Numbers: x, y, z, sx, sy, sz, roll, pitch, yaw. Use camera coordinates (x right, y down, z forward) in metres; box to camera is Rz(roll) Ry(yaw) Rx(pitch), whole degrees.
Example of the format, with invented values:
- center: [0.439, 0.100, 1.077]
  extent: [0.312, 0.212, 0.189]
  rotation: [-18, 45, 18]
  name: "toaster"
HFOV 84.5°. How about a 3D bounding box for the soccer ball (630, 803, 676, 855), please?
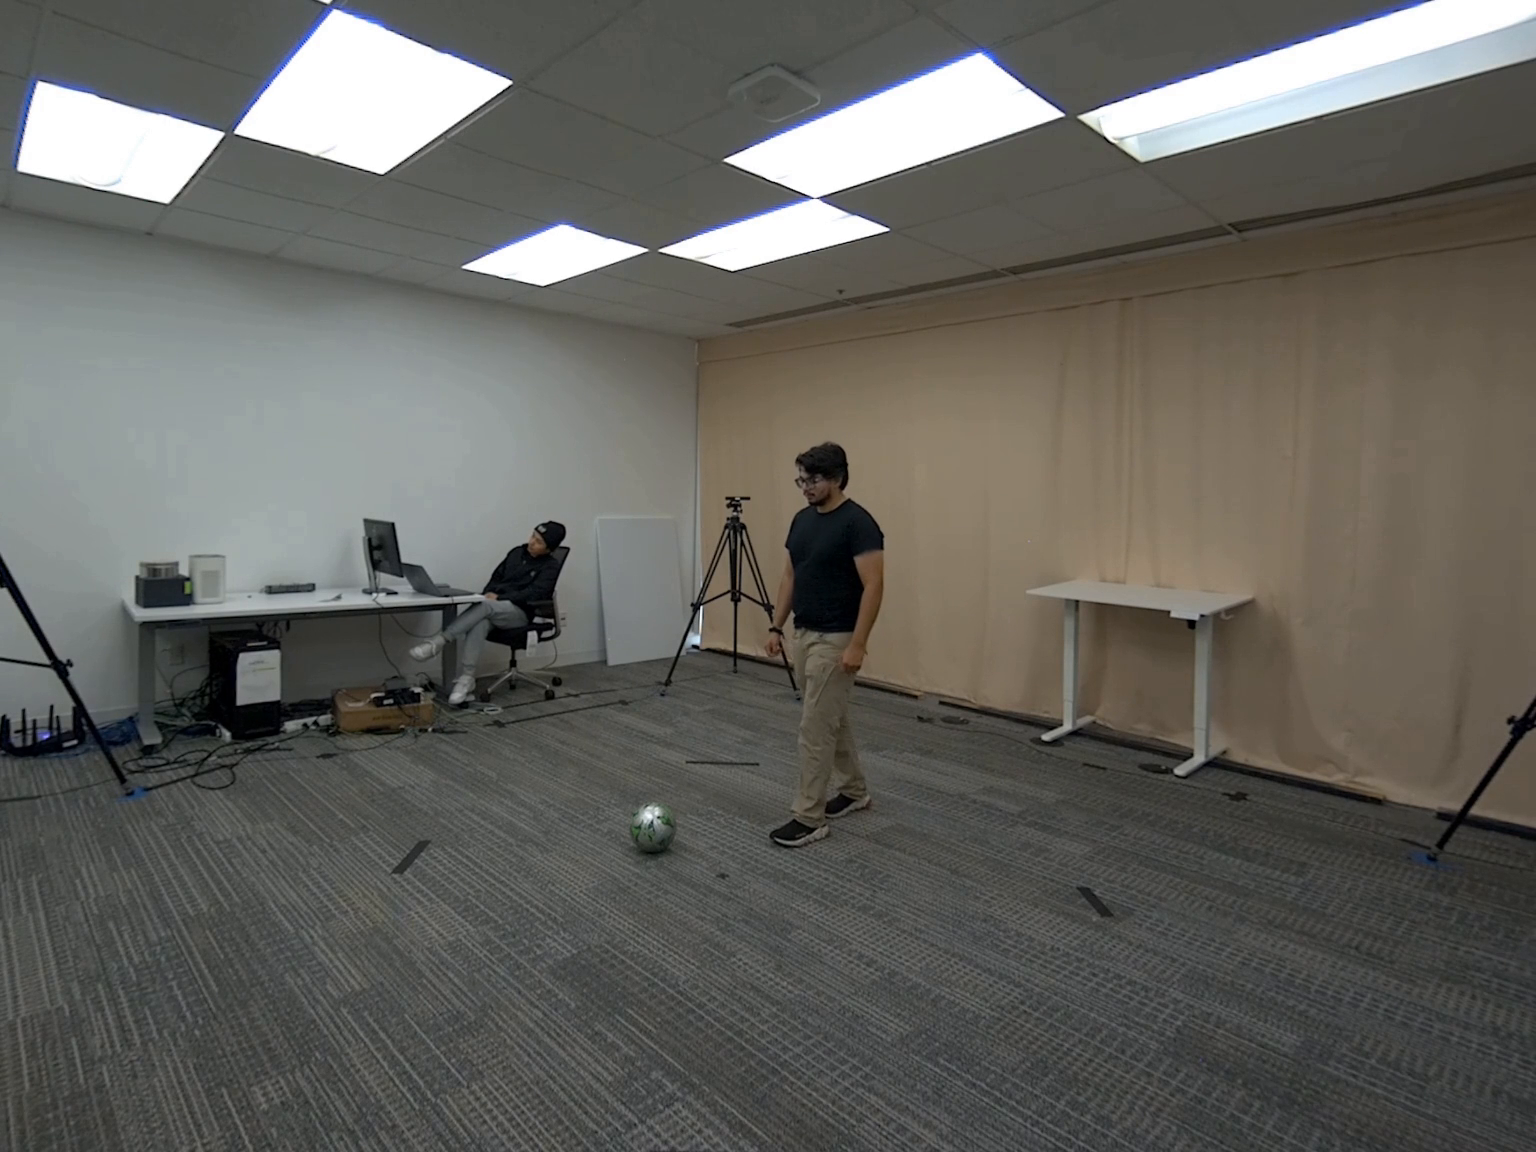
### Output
- center: [-0.458, 0.985, 3.309]
  extent: [0.187, 0.187, 0.188]
  rotation: [1, 4, -1]
  name: "soccer ball"
